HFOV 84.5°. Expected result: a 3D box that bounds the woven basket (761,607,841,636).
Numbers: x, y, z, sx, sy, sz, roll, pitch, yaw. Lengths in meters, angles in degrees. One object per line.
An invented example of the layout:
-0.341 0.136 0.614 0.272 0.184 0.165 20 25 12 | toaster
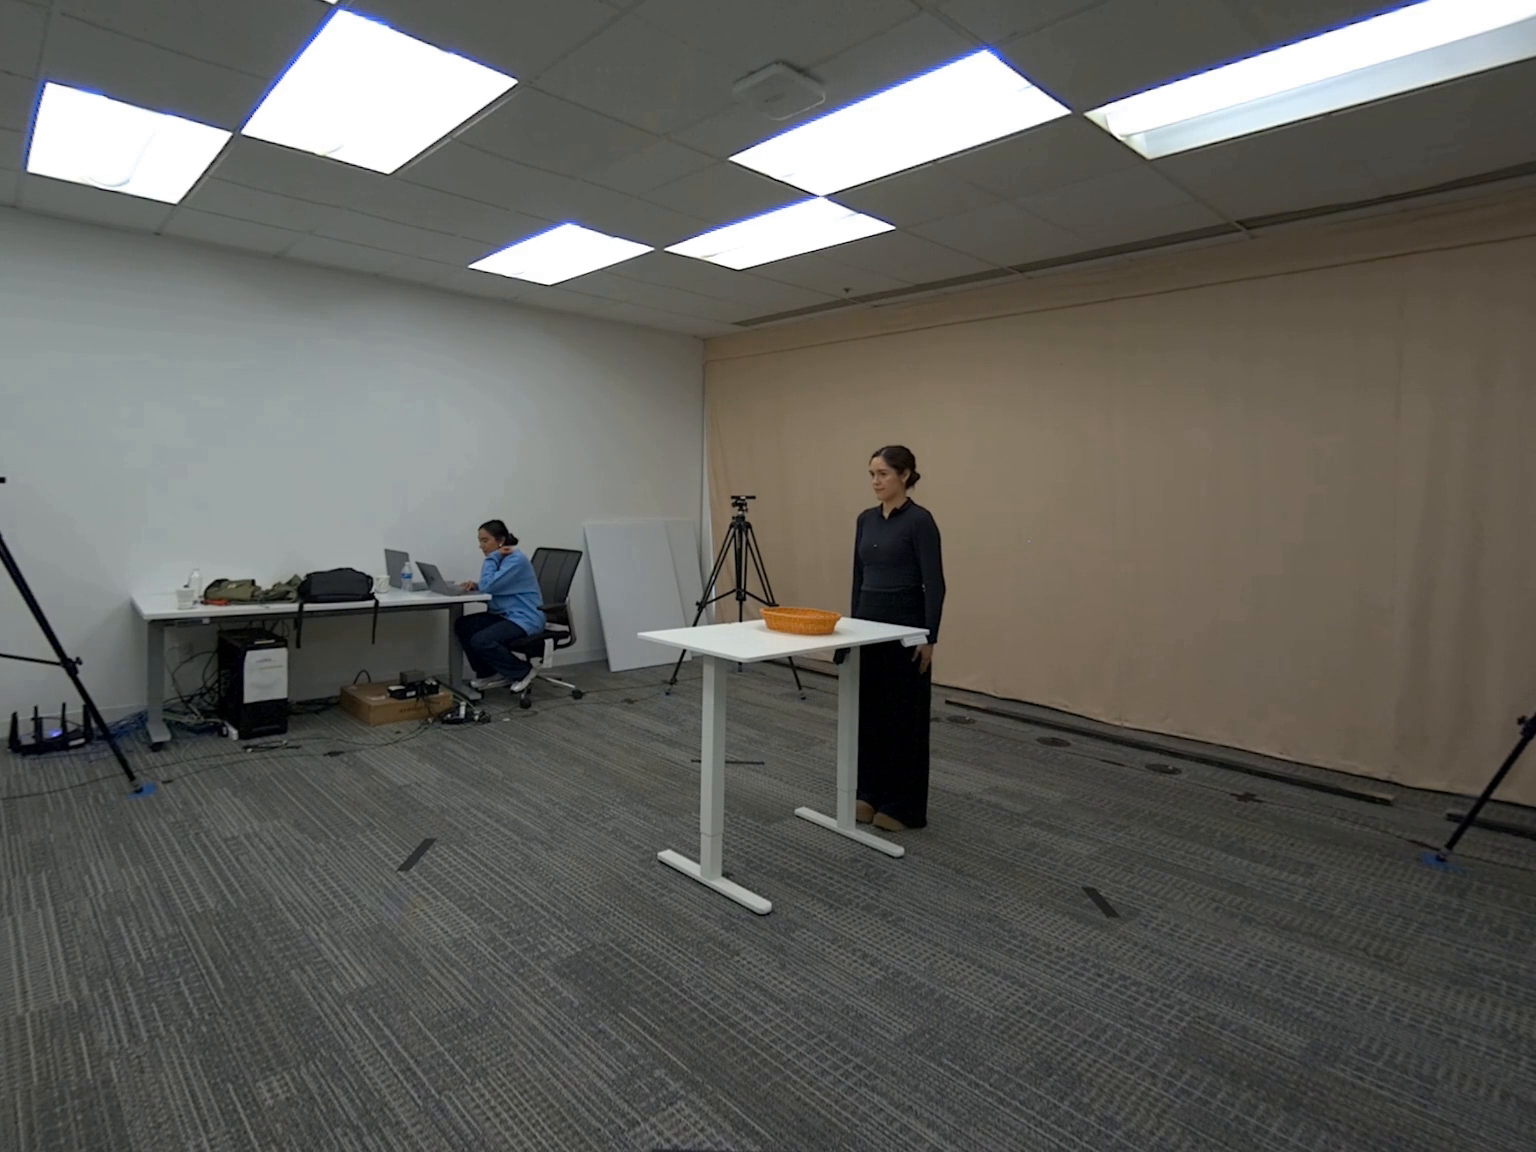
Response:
0.121 0.180 3.282 0.247 0.073 0.359 -3 7 -39 | woven basket
